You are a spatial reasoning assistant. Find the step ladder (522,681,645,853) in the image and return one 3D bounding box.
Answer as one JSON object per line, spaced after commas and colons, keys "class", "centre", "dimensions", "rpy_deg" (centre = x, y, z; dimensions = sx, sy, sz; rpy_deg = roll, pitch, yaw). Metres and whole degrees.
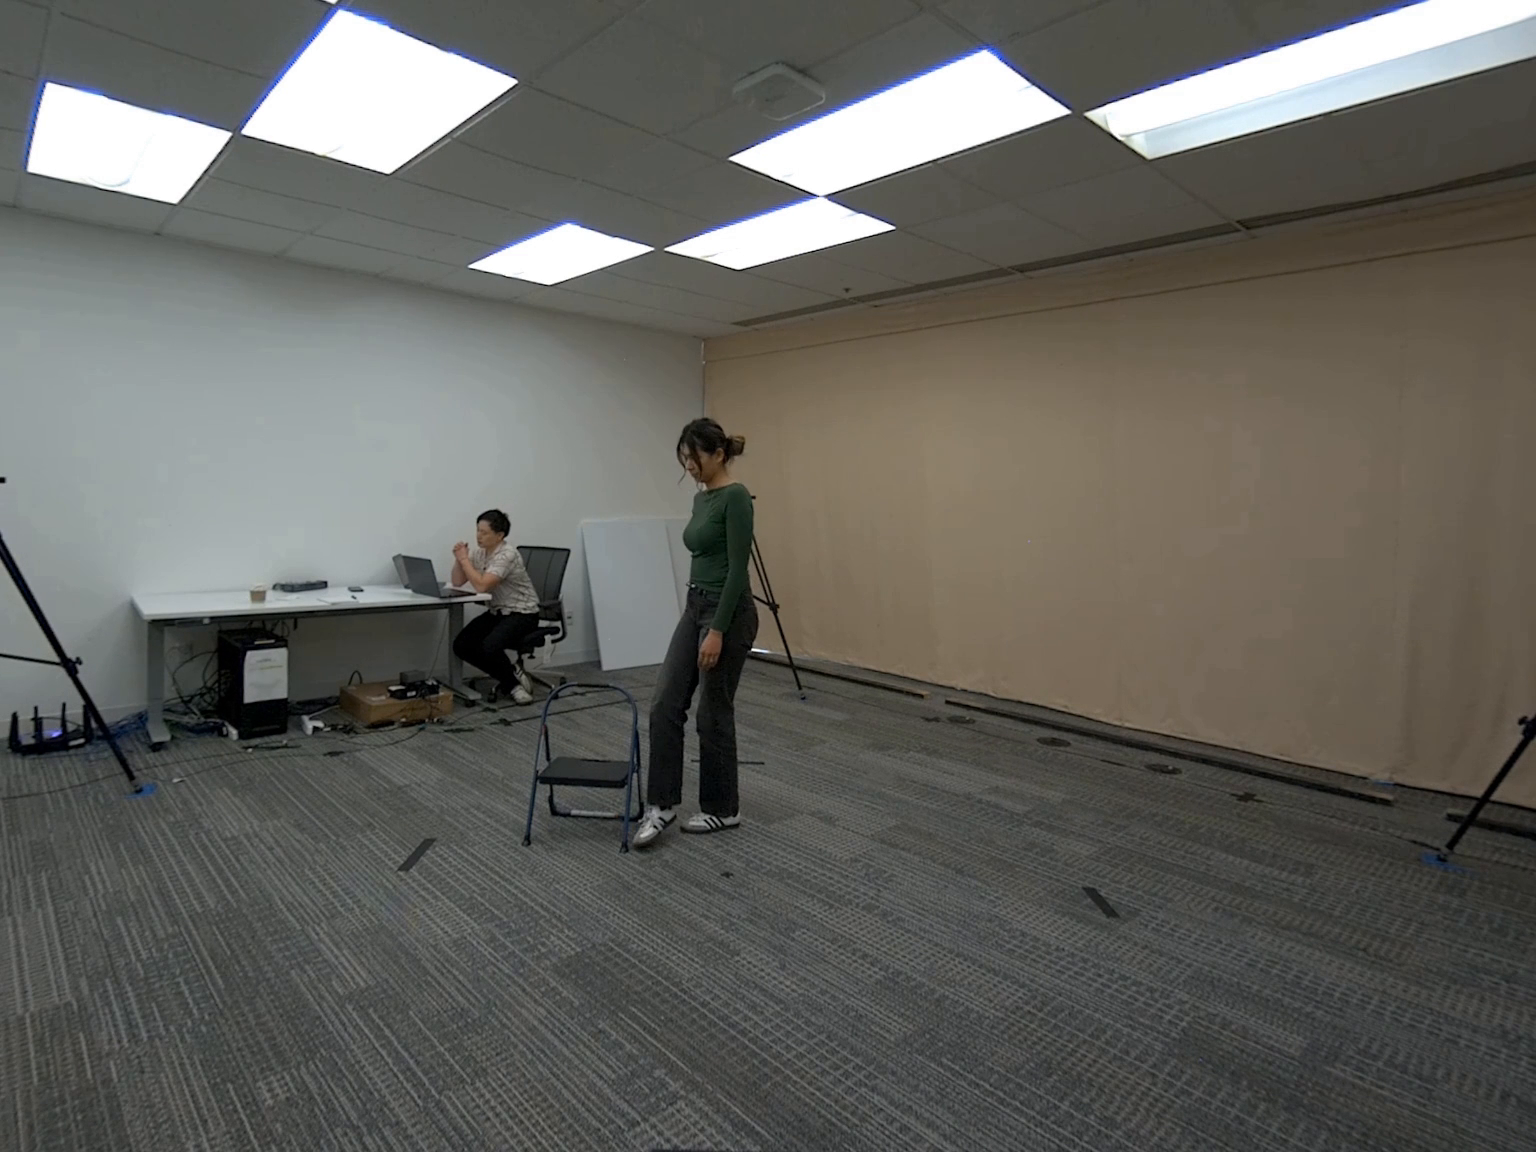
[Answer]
{"class": "step ladder", "centre": [-0.747, 0.753, 3.452], "dimensions": [0.433, 0.604, 0.348], "rpy_deg": [2, 4, 5]}
